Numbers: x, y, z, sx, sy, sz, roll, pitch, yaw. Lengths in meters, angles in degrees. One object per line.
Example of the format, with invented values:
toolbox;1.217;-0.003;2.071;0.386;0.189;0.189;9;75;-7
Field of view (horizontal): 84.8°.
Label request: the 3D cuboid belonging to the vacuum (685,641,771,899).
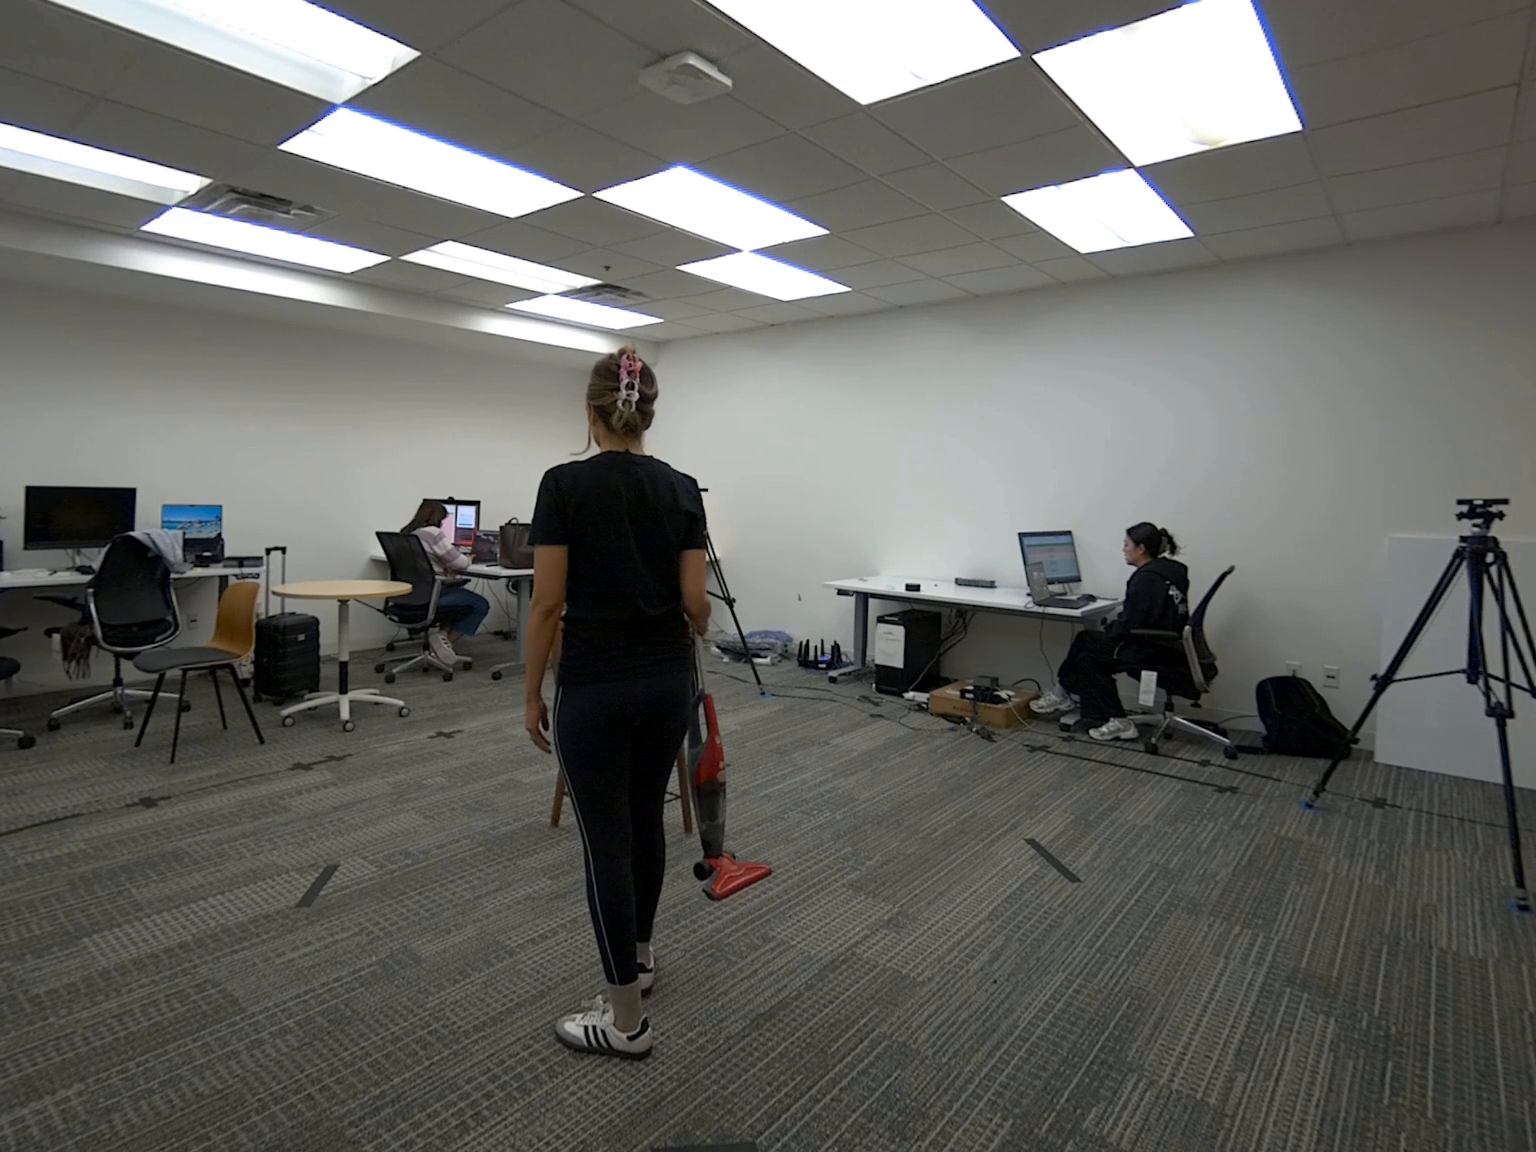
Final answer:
vacuum;-0.217;0.353;2.510;0.147;1.061;0.245;-17;-11;33
